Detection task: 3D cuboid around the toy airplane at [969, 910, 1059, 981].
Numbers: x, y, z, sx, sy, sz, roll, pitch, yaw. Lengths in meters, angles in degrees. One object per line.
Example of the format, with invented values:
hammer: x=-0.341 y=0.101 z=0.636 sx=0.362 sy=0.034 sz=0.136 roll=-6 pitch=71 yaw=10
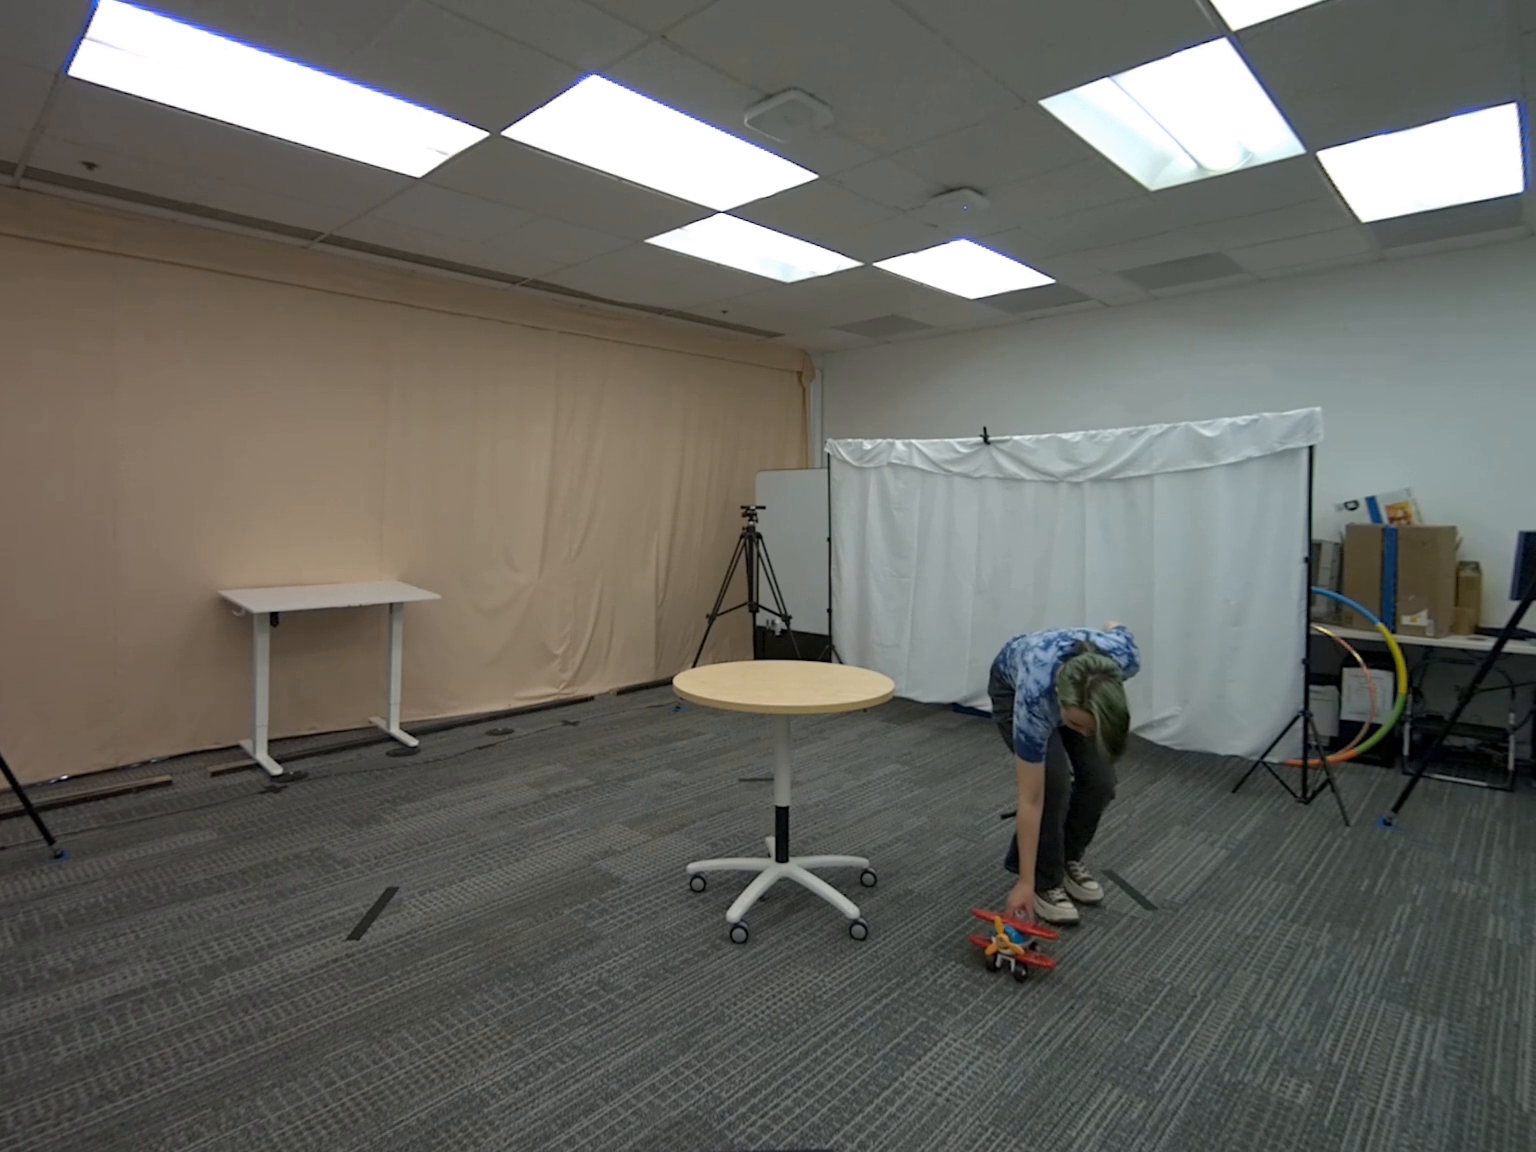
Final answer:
toy airplane: x=0.751 y=1.106 z=2.565 sx=0.254 sy=0.156 sz=0.257 roll=1 pitch=5 yaw=9
